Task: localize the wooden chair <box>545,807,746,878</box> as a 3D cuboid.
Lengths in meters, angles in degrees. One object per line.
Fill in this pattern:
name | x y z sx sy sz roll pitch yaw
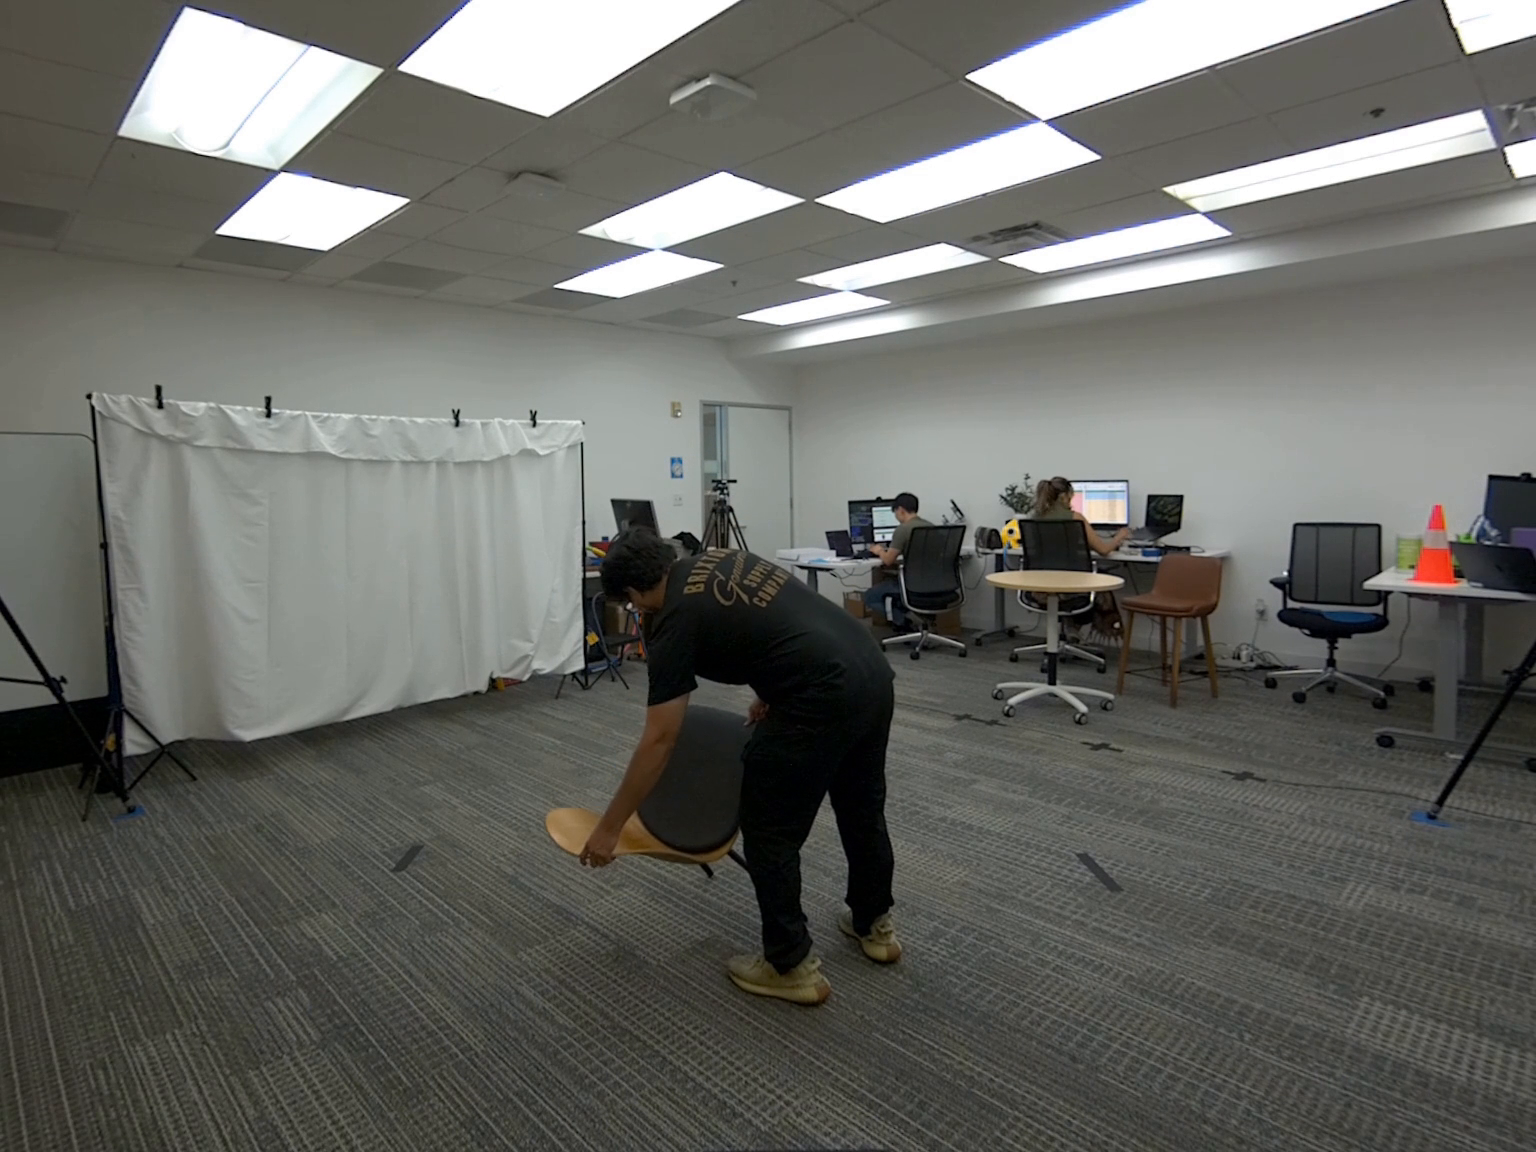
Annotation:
wooden chair | -0.212 0.685 2.668 0.493 0.527 0.844 6 -19 44
